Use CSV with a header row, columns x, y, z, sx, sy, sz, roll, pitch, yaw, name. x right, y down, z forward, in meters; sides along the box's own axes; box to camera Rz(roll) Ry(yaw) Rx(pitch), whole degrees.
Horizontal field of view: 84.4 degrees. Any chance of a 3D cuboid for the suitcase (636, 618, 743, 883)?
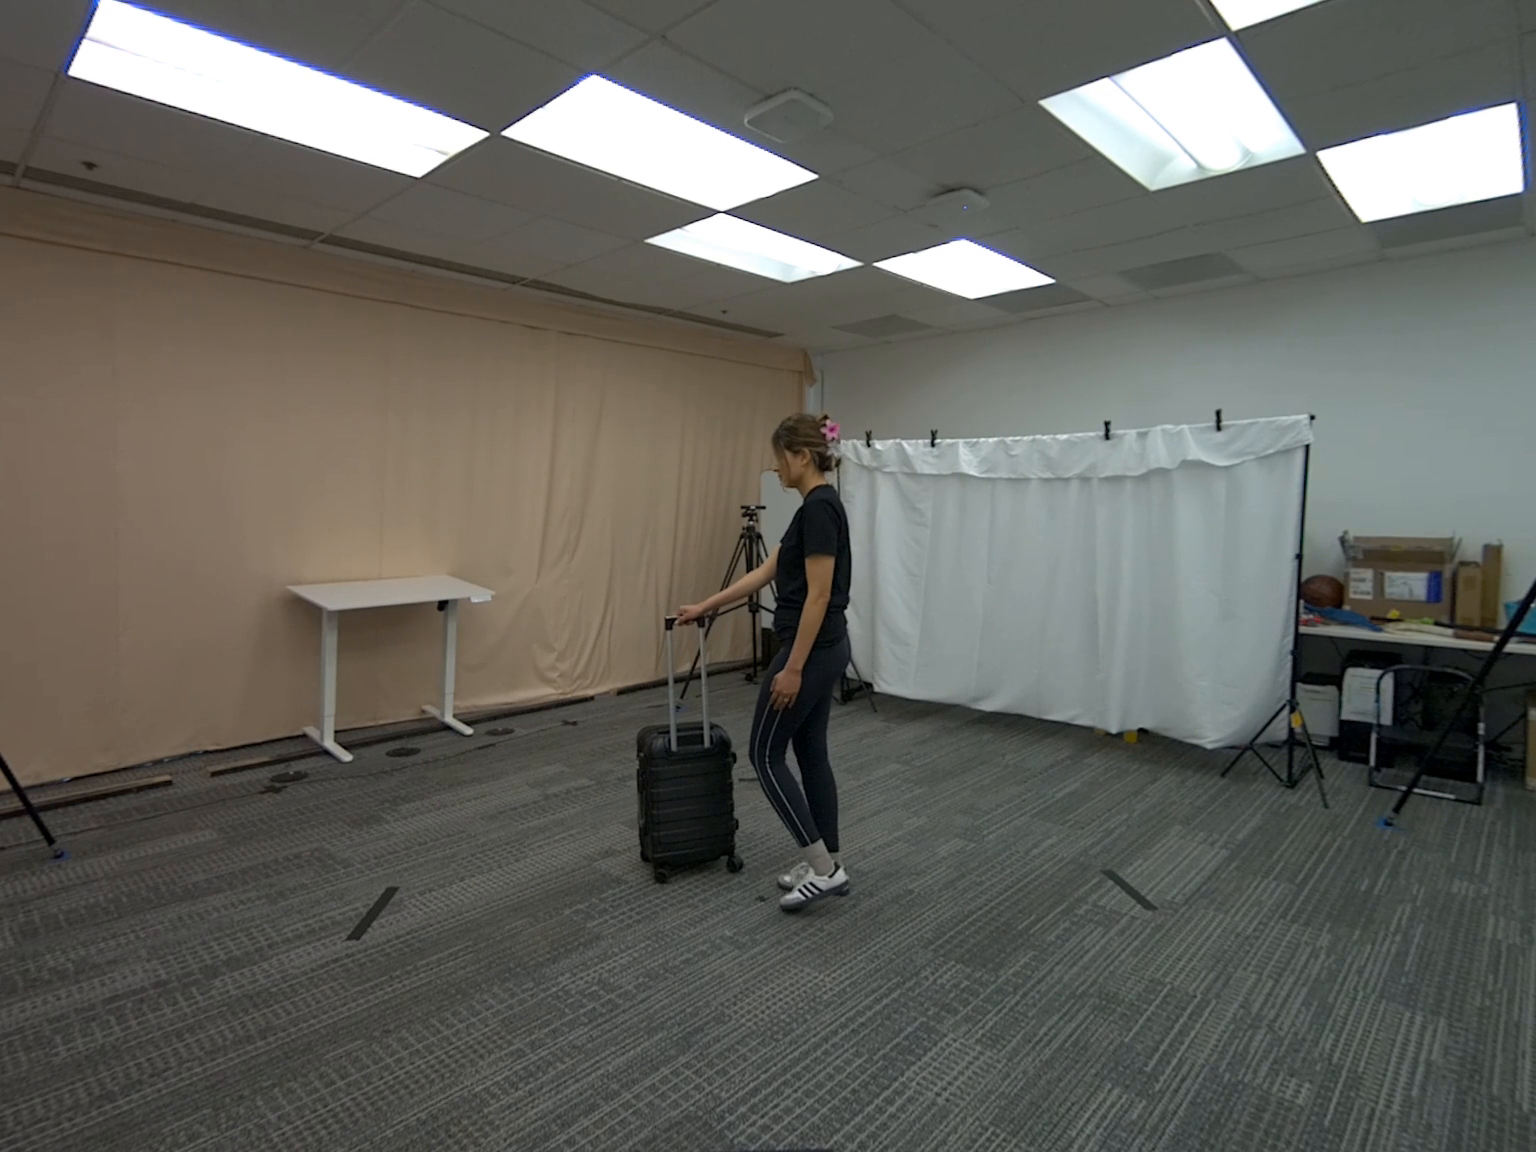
x,y,z,sx,sy,sz,roll,pitch,yaw,name
-0.334,0.643,3.265,0.378,0.978,0.261,-2,0,-16,suitcase
